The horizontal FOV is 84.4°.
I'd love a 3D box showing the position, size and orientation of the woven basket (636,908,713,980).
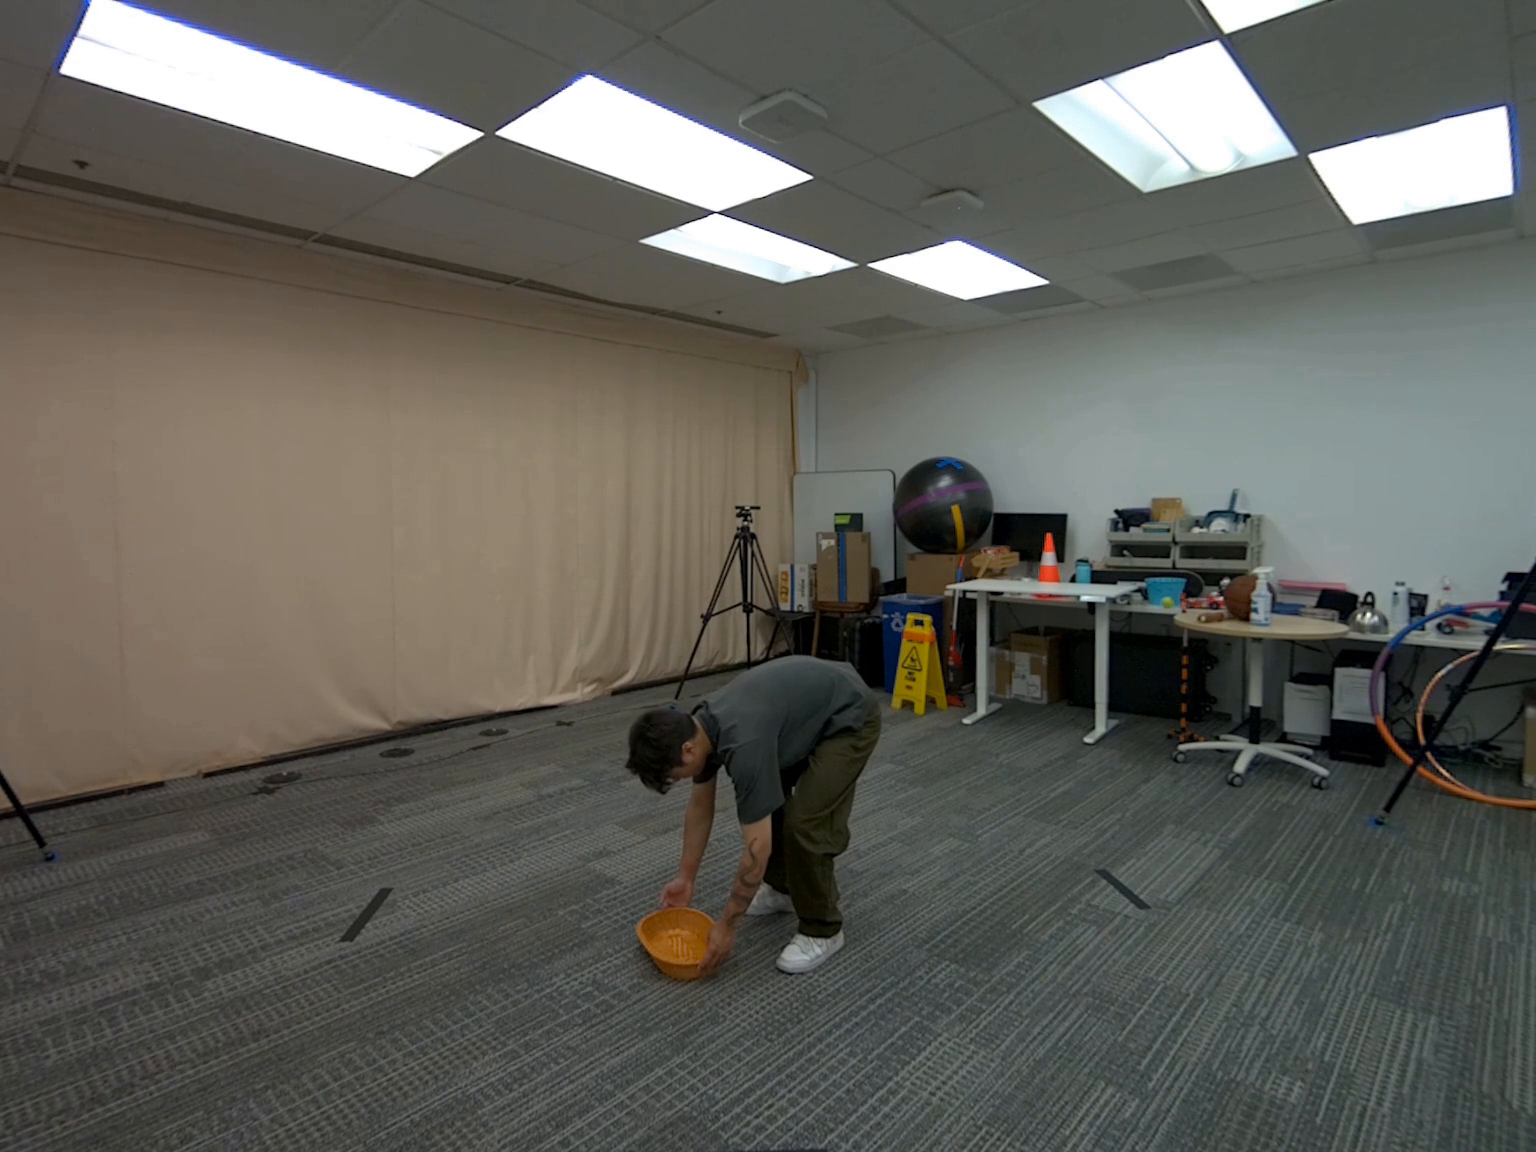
[{"bbox_3d":[-0.266,1.135,2.611,0.246,0.073,0.360,-3,6,-27],"label":"woven basket"}]
